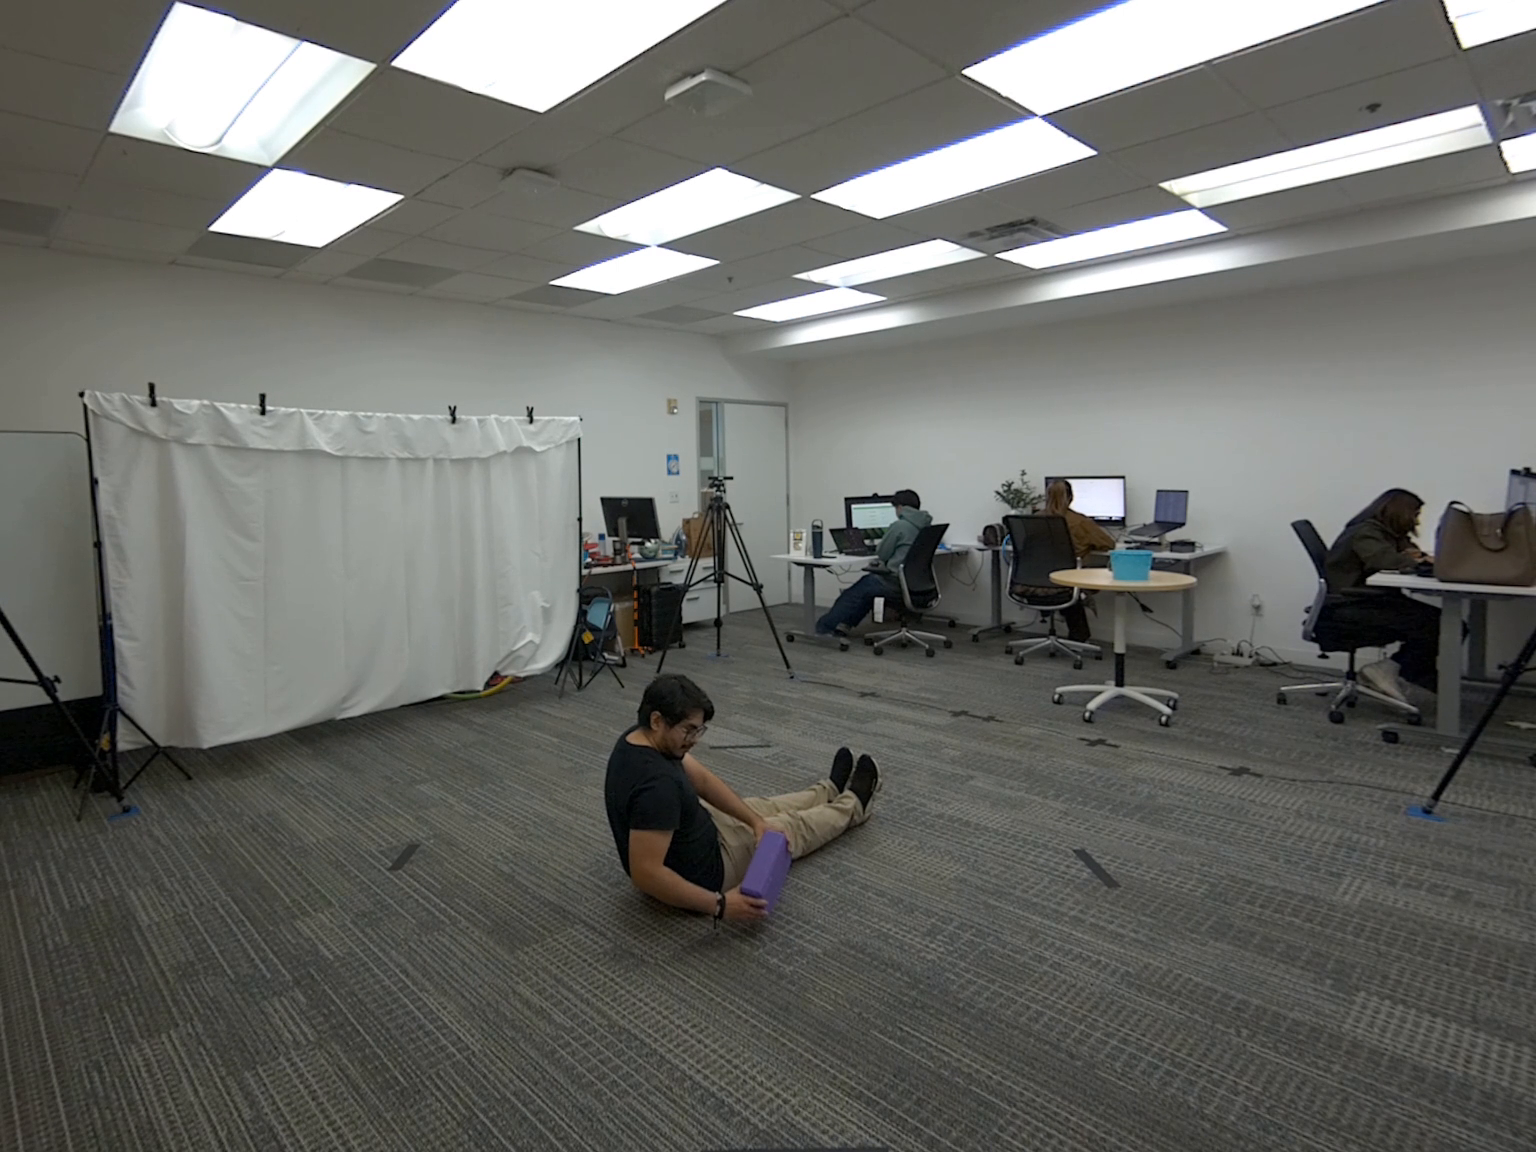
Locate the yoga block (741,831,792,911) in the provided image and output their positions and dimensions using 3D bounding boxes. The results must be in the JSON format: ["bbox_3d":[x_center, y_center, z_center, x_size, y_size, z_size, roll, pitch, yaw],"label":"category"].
[{"bbox_3d":[-0.015,0.938,2.677,0.078,0.144,0.231,1,37,21],"label":"yoga block"}]
